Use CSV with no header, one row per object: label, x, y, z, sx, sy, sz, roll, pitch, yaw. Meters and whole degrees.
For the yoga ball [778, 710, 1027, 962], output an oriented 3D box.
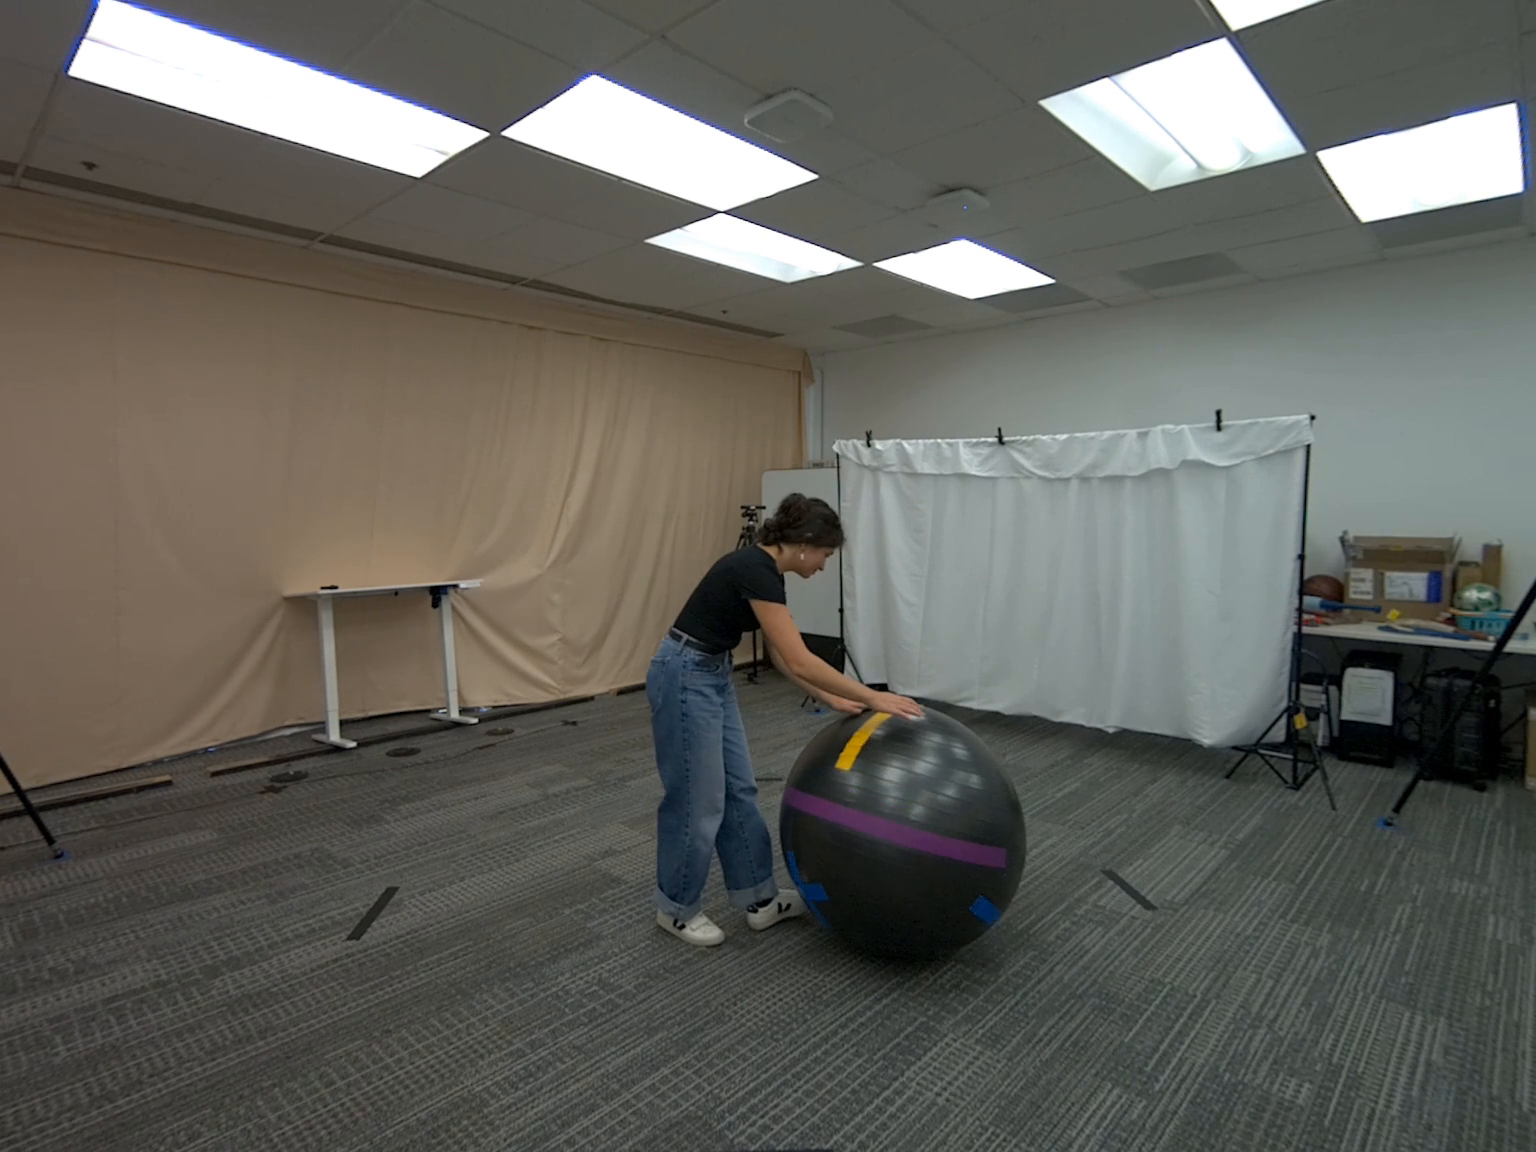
yoga ball,0.425,0.799,2.665,0.757,0.756,0.760,0,4,-2
